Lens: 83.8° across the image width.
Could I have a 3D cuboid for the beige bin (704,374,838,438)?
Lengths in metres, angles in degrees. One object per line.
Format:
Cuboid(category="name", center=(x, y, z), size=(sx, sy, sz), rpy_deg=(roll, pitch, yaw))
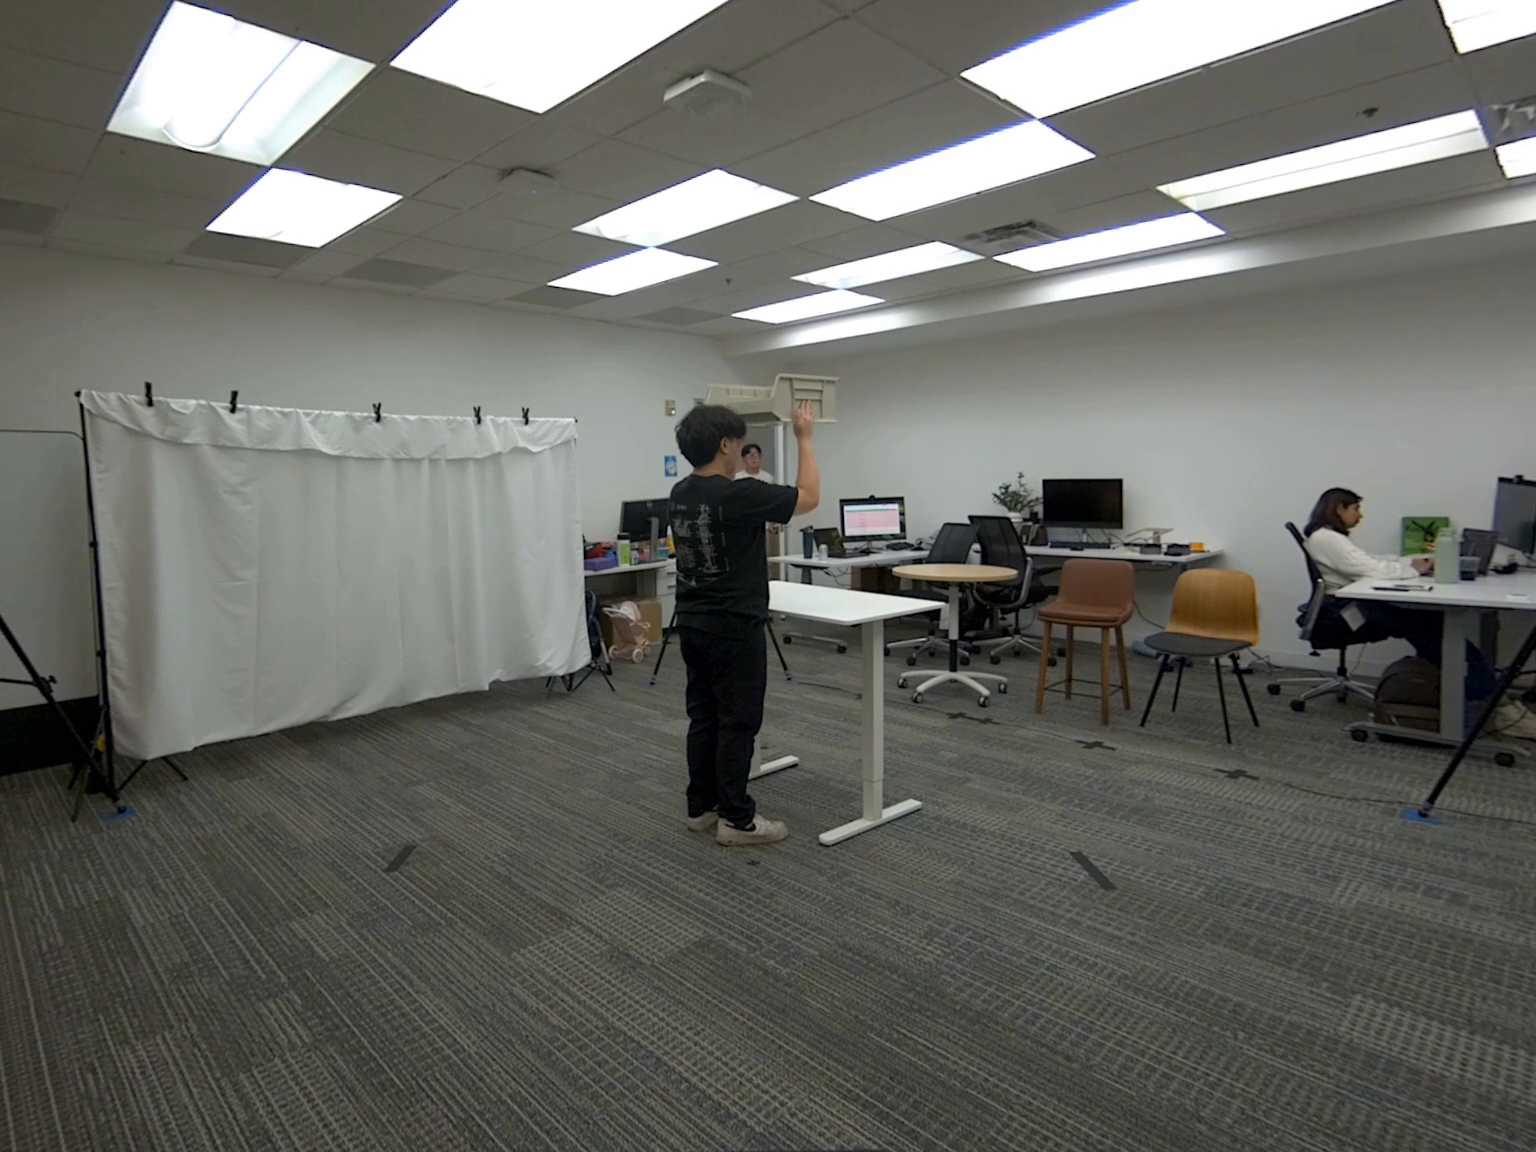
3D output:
Cuboid(category="beige bin", center=(0.012, -0.705, 3.484), size=(0.367, 0.188, 0.435), rpy_deg=(-7, 8, -41))
